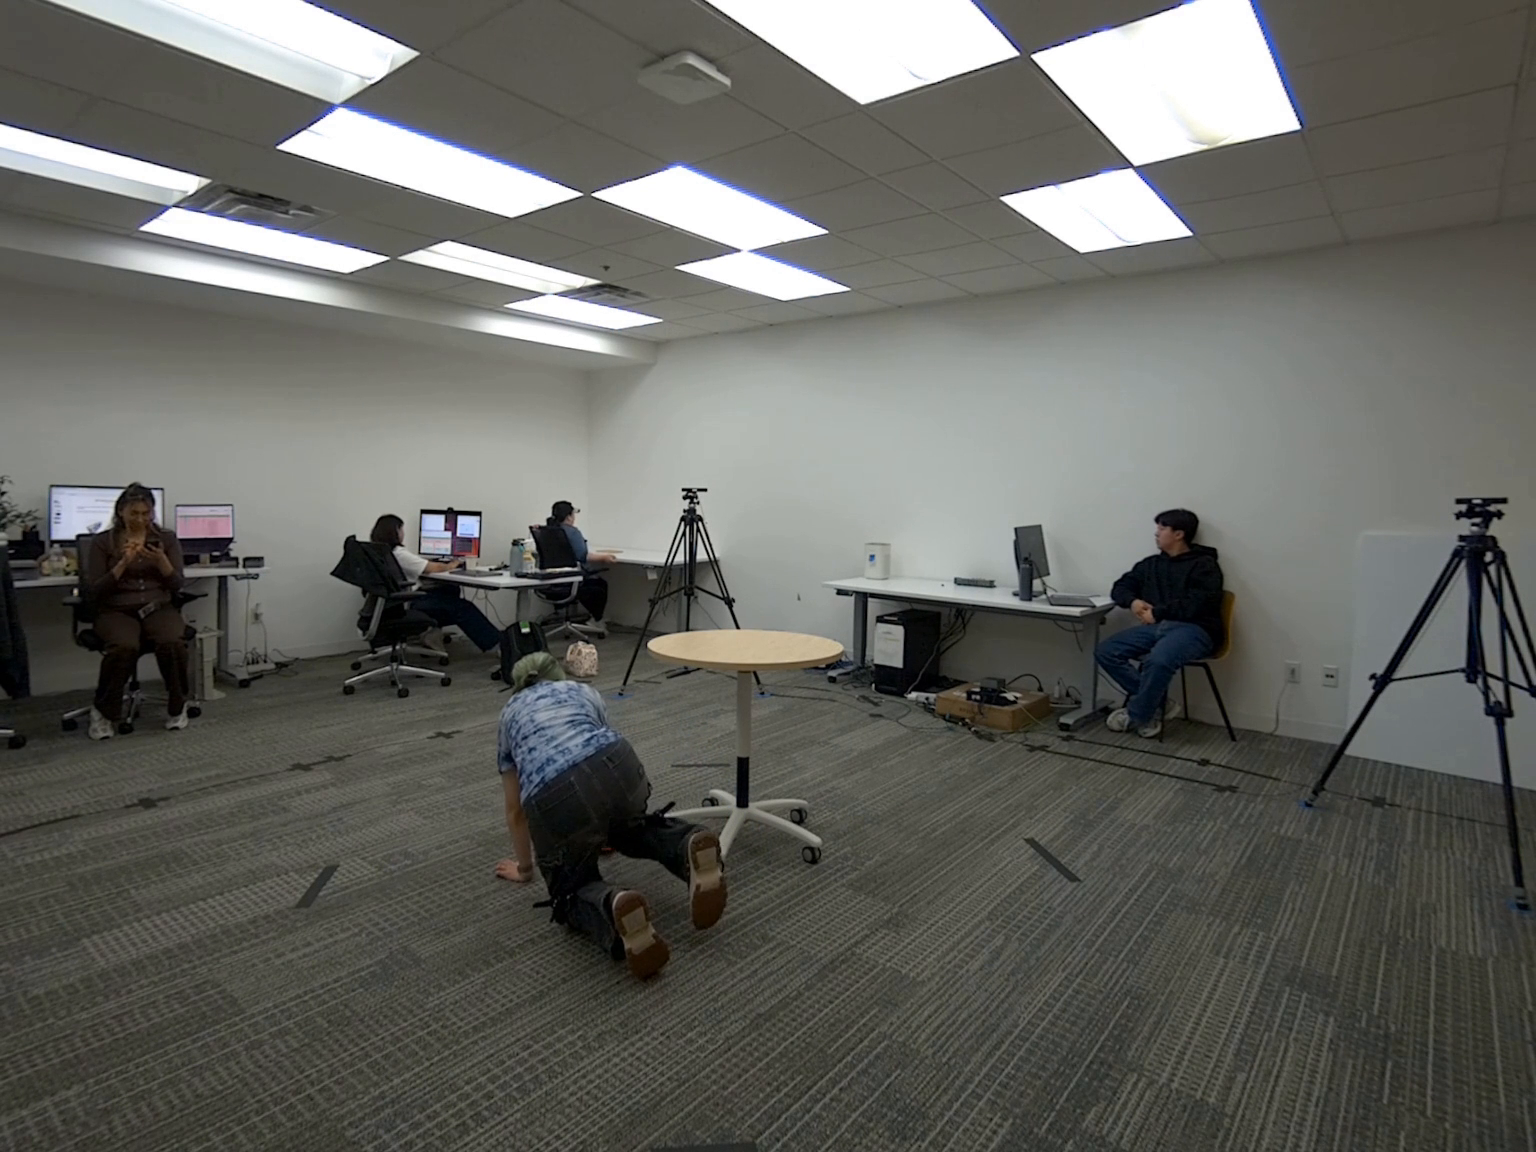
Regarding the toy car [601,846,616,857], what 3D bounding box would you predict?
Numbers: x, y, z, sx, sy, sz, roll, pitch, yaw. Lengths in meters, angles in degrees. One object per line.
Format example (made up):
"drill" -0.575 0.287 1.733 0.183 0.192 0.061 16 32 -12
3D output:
"toy car" -0.661 1.013 3.306 0.129 0.084 0.255 2 -7 -9
